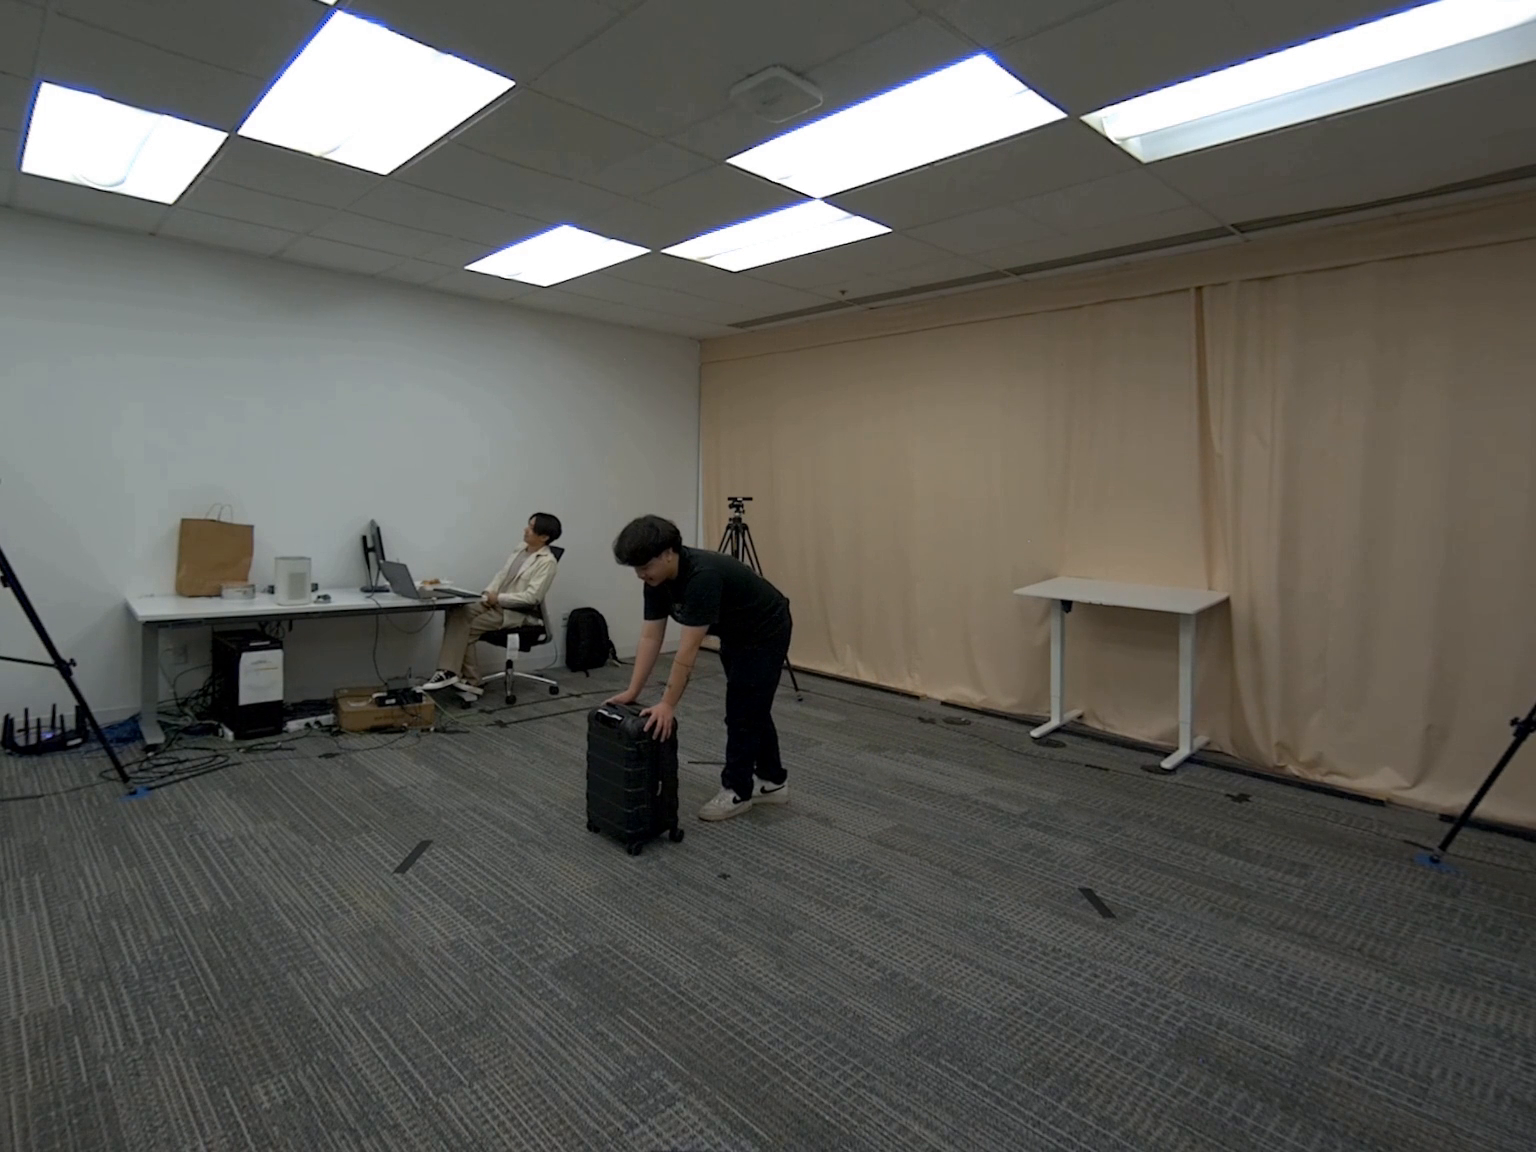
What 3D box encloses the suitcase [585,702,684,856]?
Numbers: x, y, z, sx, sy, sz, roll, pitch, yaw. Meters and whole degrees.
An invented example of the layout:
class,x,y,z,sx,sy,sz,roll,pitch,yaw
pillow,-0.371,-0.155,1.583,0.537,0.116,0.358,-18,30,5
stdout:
class,x,y,z,sx,sy,sz,roll,pitch,yaw
suitcase,-0.560,0.797,3.429,0.243,0.547,0.385,-4,8,-42
